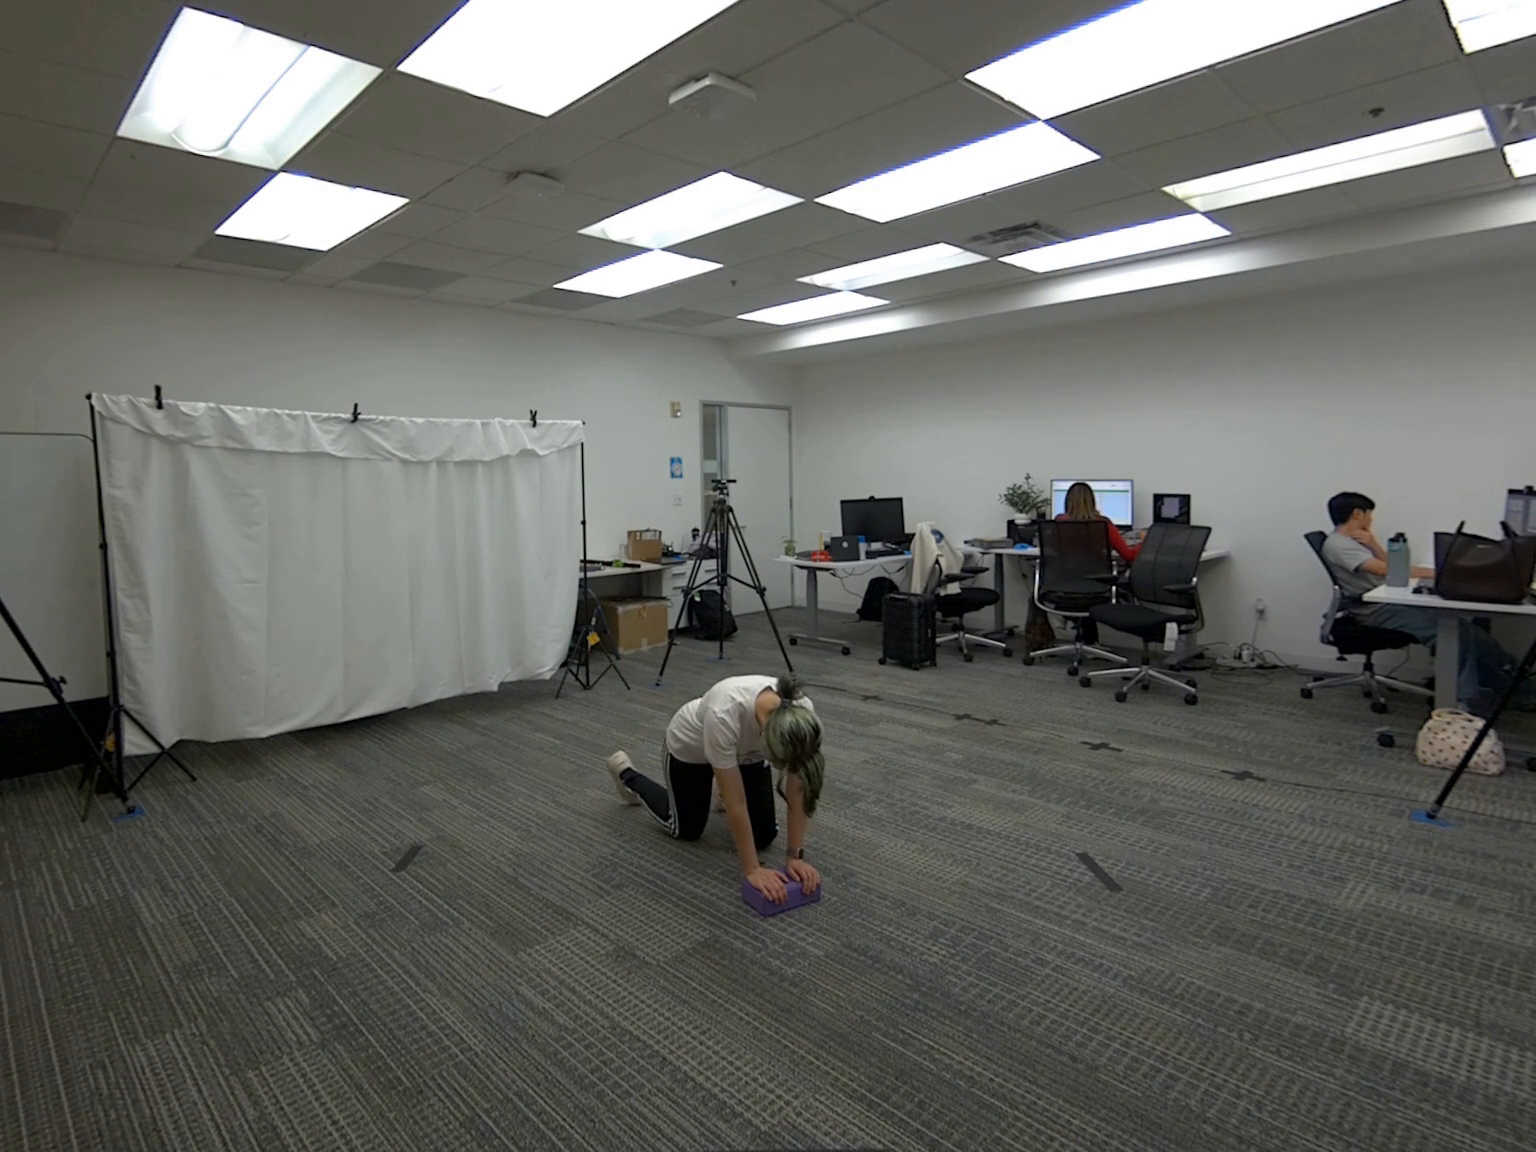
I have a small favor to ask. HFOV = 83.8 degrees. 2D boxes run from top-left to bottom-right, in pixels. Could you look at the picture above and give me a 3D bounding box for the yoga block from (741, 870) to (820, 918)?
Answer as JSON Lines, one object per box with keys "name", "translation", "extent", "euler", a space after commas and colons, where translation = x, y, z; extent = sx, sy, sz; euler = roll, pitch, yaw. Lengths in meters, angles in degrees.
{"name": "yoga block", "translation": [0.049, 1.039, 2.837], "extent": [0.224, 0.076, 0.153], "euler": [-4, 7, -31]}
